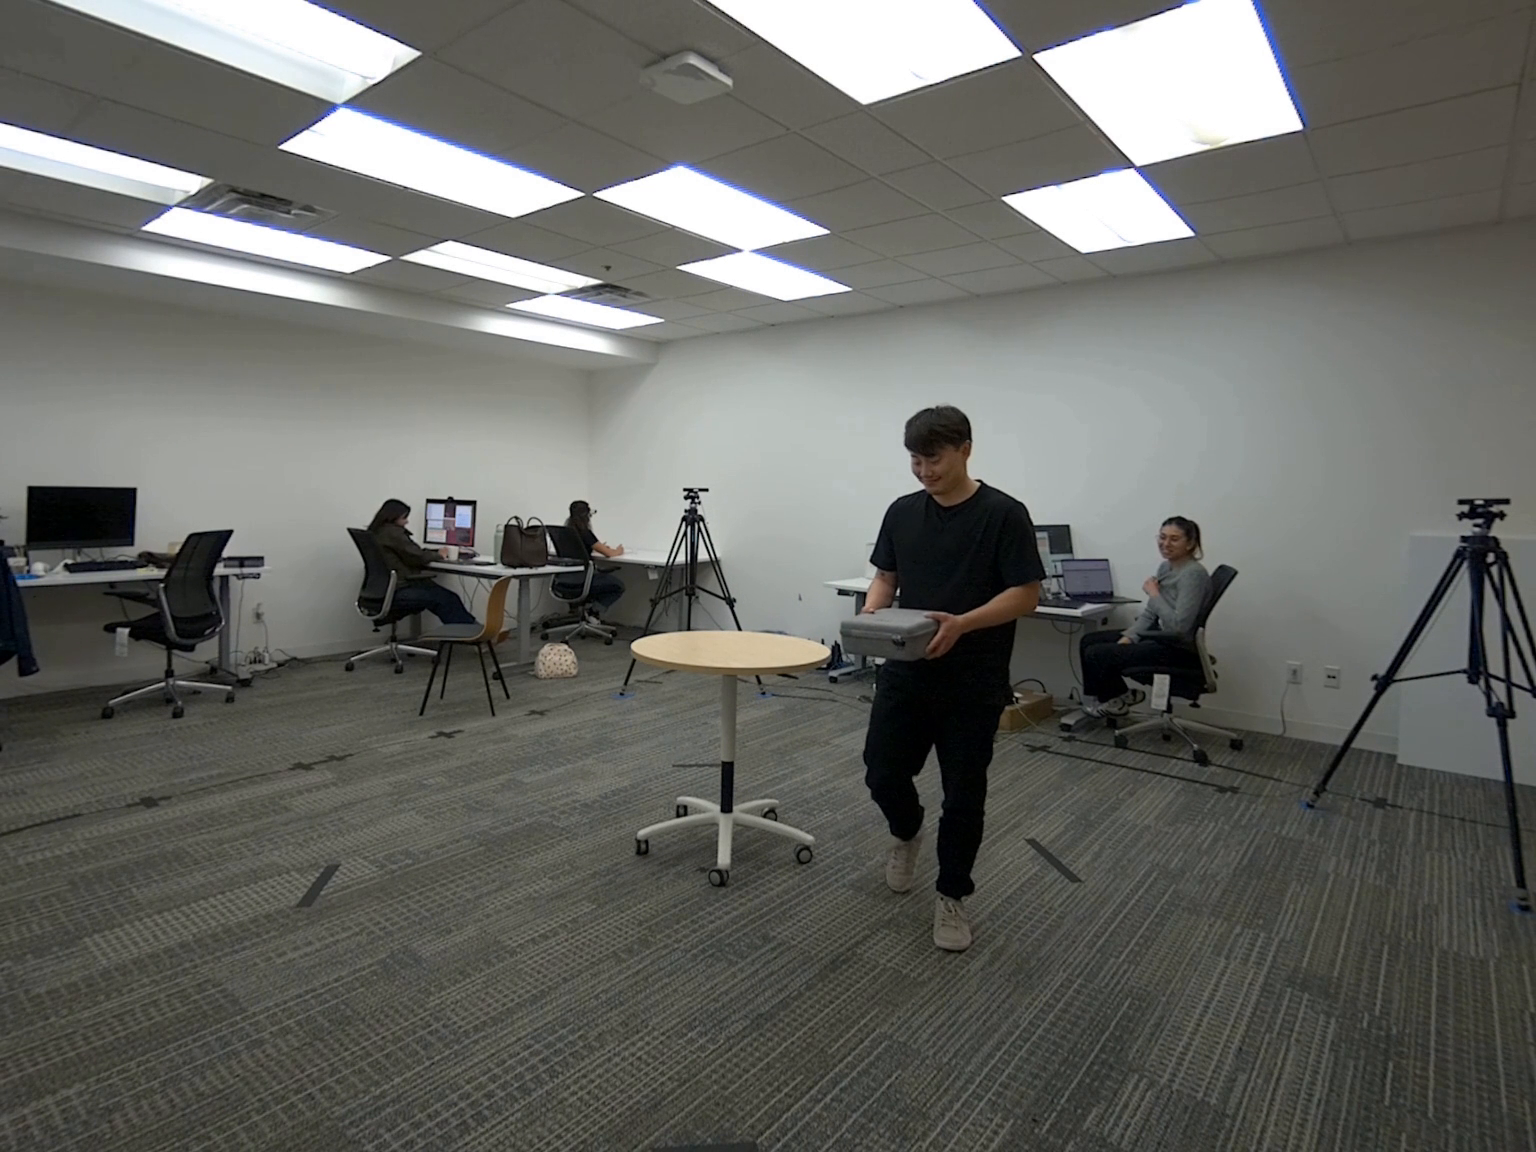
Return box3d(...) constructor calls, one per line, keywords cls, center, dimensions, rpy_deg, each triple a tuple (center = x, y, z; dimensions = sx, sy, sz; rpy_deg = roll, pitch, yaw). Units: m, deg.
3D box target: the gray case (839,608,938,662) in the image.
box3d(cls="gray case", center=(0.380, 0.166, 2.521), dimensions=(0.265, 0.104, 0.254), rpy_deg=(2, 9, 43))
